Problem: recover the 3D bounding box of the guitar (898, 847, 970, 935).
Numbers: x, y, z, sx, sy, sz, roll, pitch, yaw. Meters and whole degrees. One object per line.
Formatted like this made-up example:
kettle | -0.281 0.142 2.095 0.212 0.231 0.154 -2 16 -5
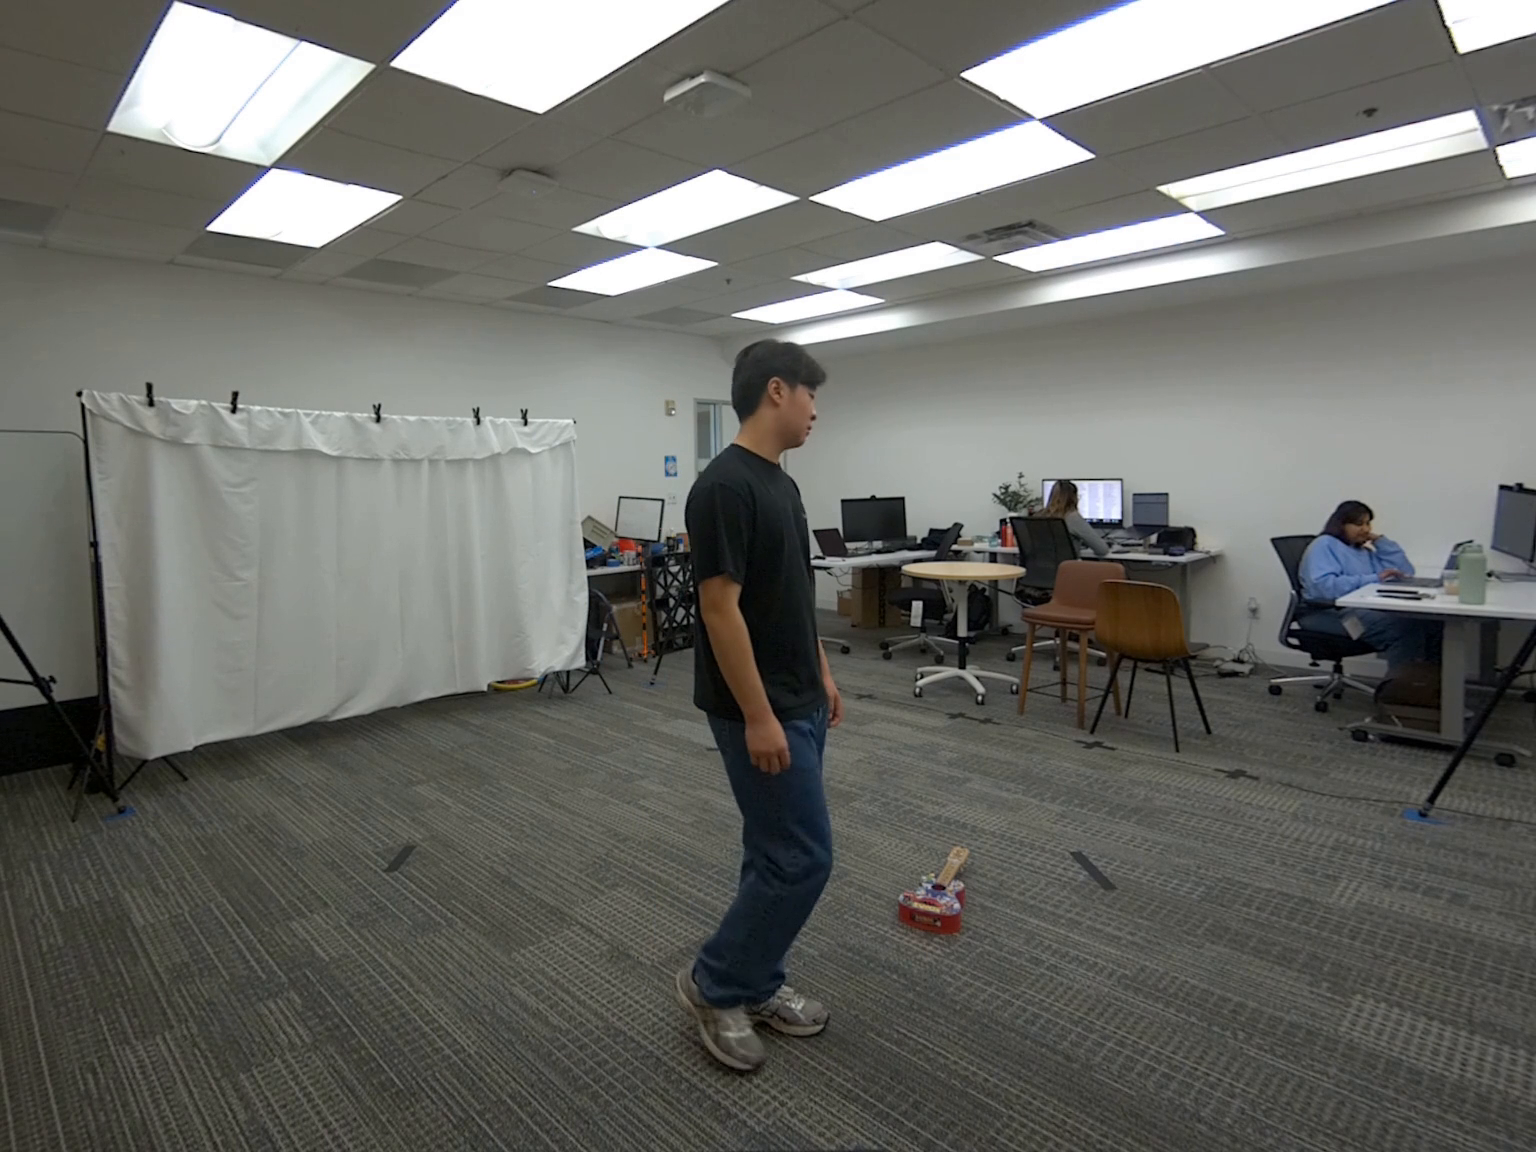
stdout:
guitar | 0.616 1.030 2.821 0.199 0.070 0.486 3 8 36
